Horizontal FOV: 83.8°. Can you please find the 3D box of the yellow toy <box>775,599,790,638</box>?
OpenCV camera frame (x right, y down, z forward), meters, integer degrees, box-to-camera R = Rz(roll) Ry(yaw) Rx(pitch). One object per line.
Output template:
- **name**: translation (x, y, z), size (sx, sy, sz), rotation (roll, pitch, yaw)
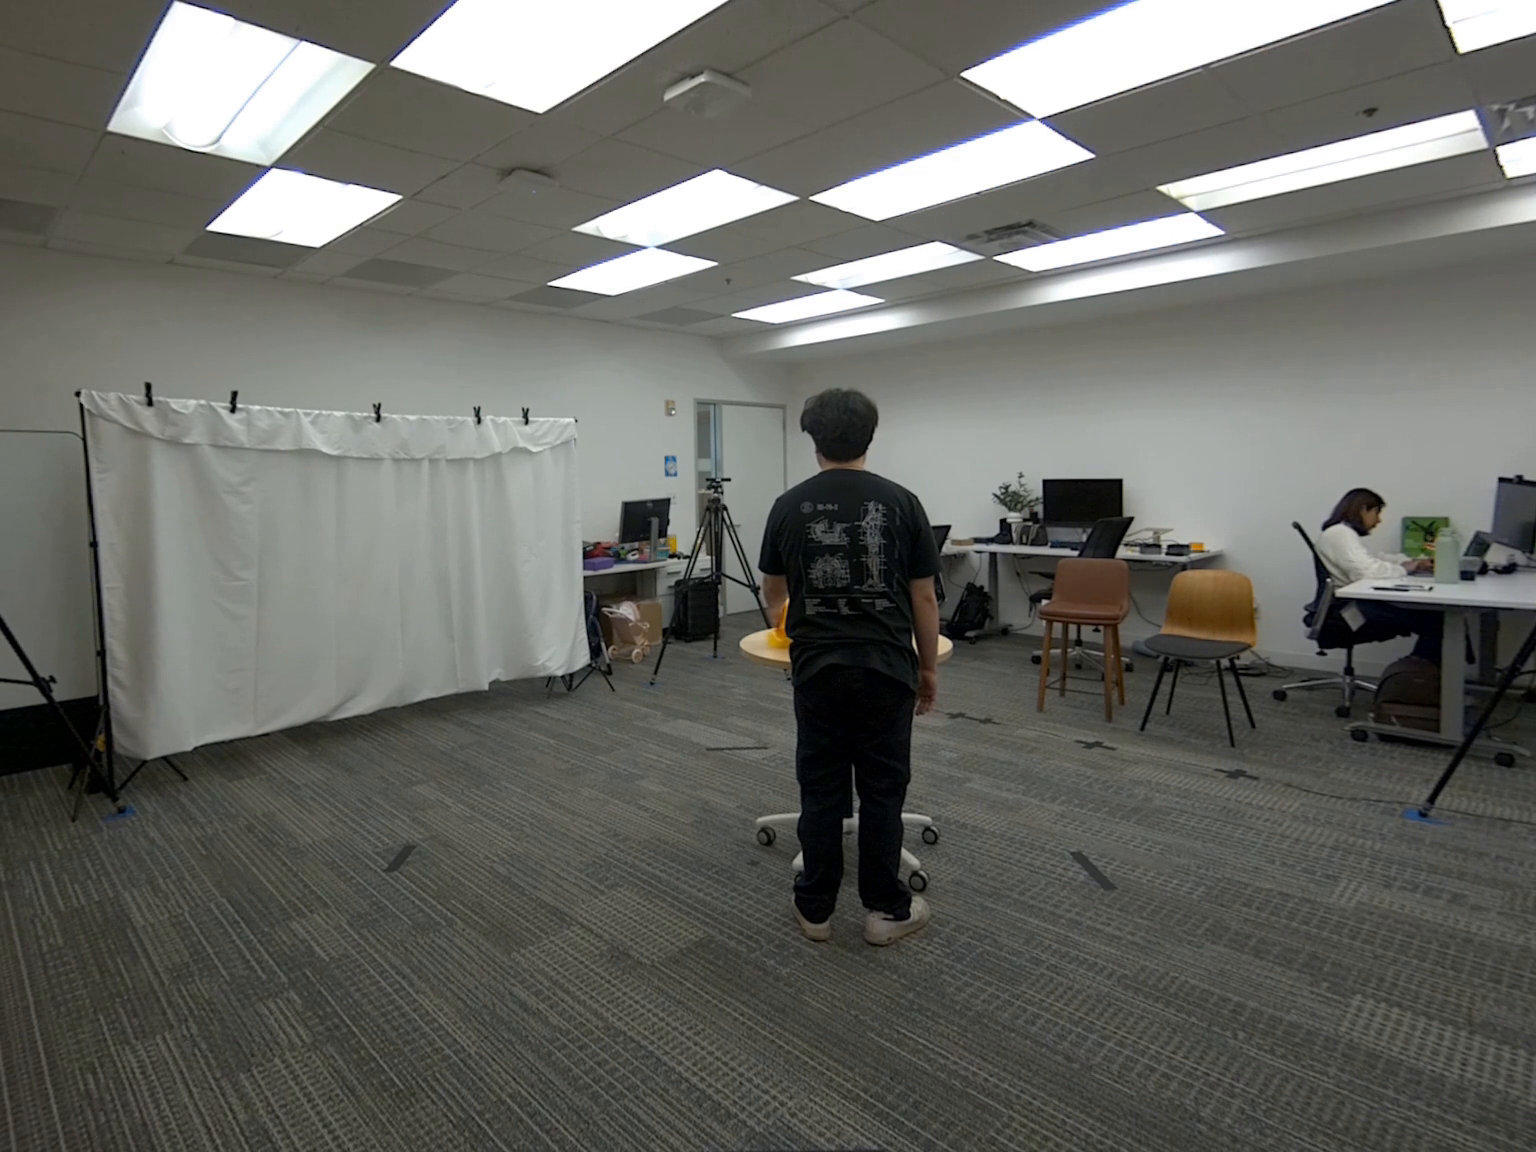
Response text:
- **yellow toy**: translation (0.117, 0.133, 3.112), size (0.200, 0.230, 0.198), rotation (-5, 5, -27)
